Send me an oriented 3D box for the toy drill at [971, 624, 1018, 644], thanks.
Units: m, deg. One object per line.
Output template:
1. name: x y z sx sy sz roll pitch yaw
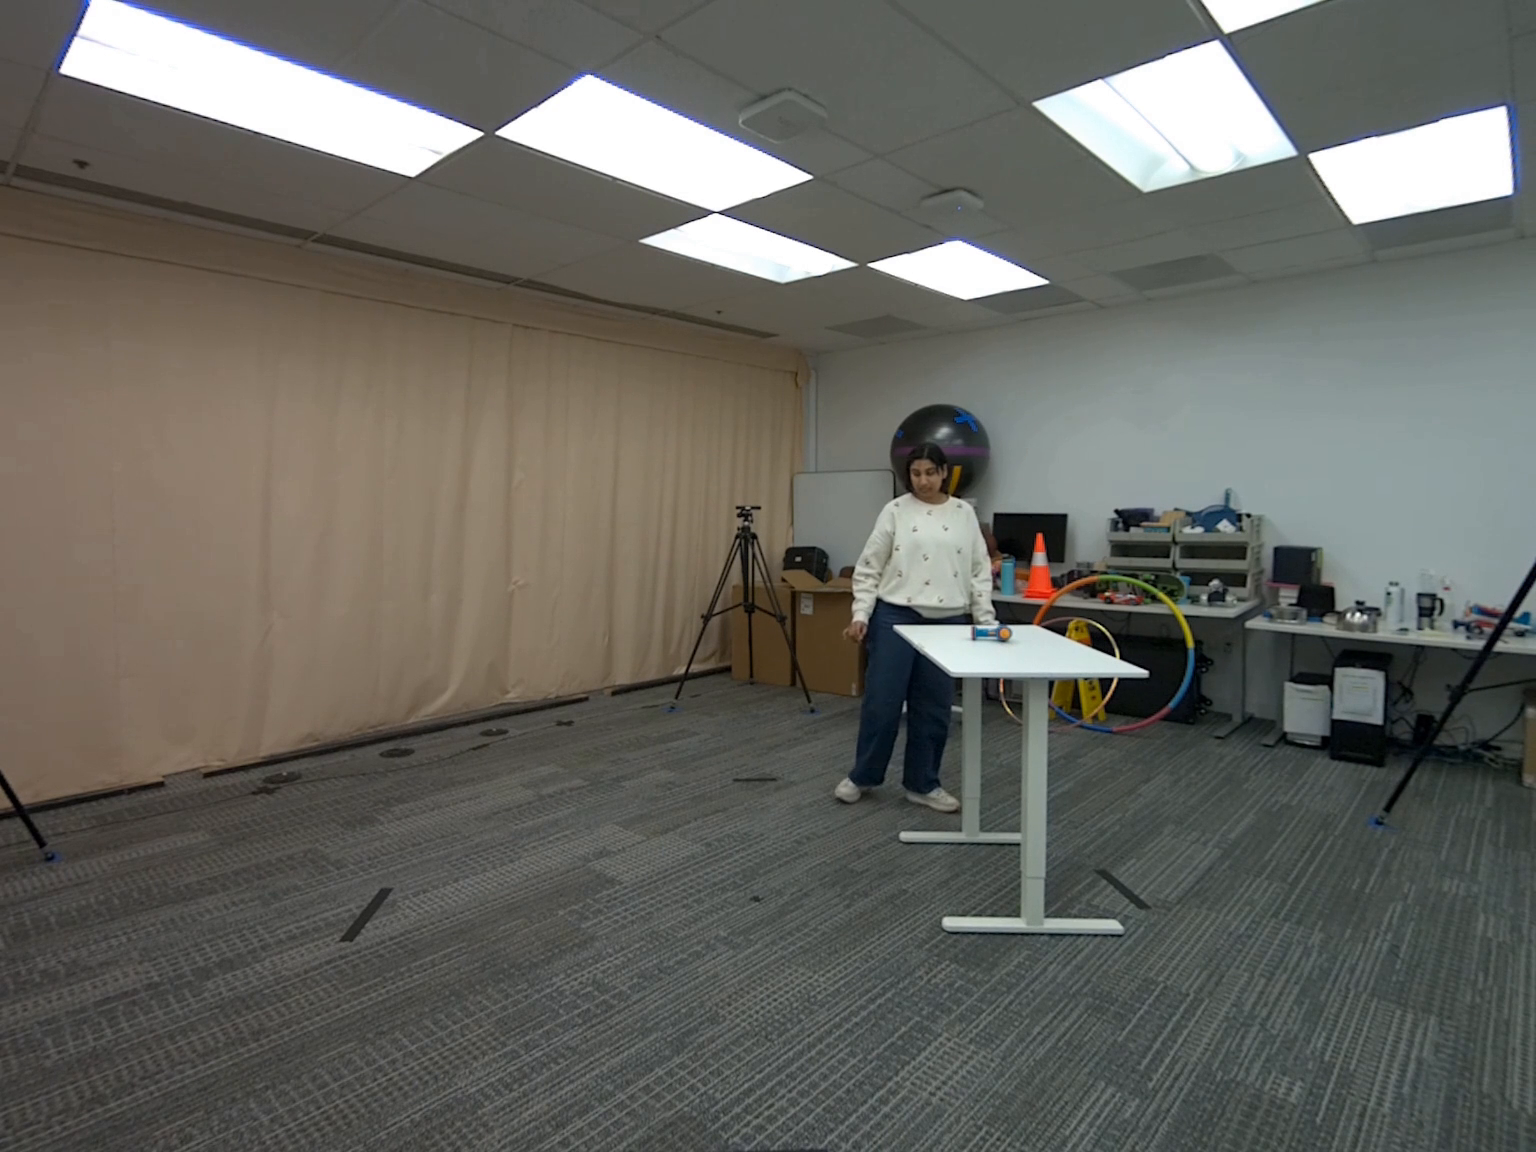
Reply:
1. toy drill: 0.835 0.211 3.142 0.148 0.061 0.168 1 0 10
